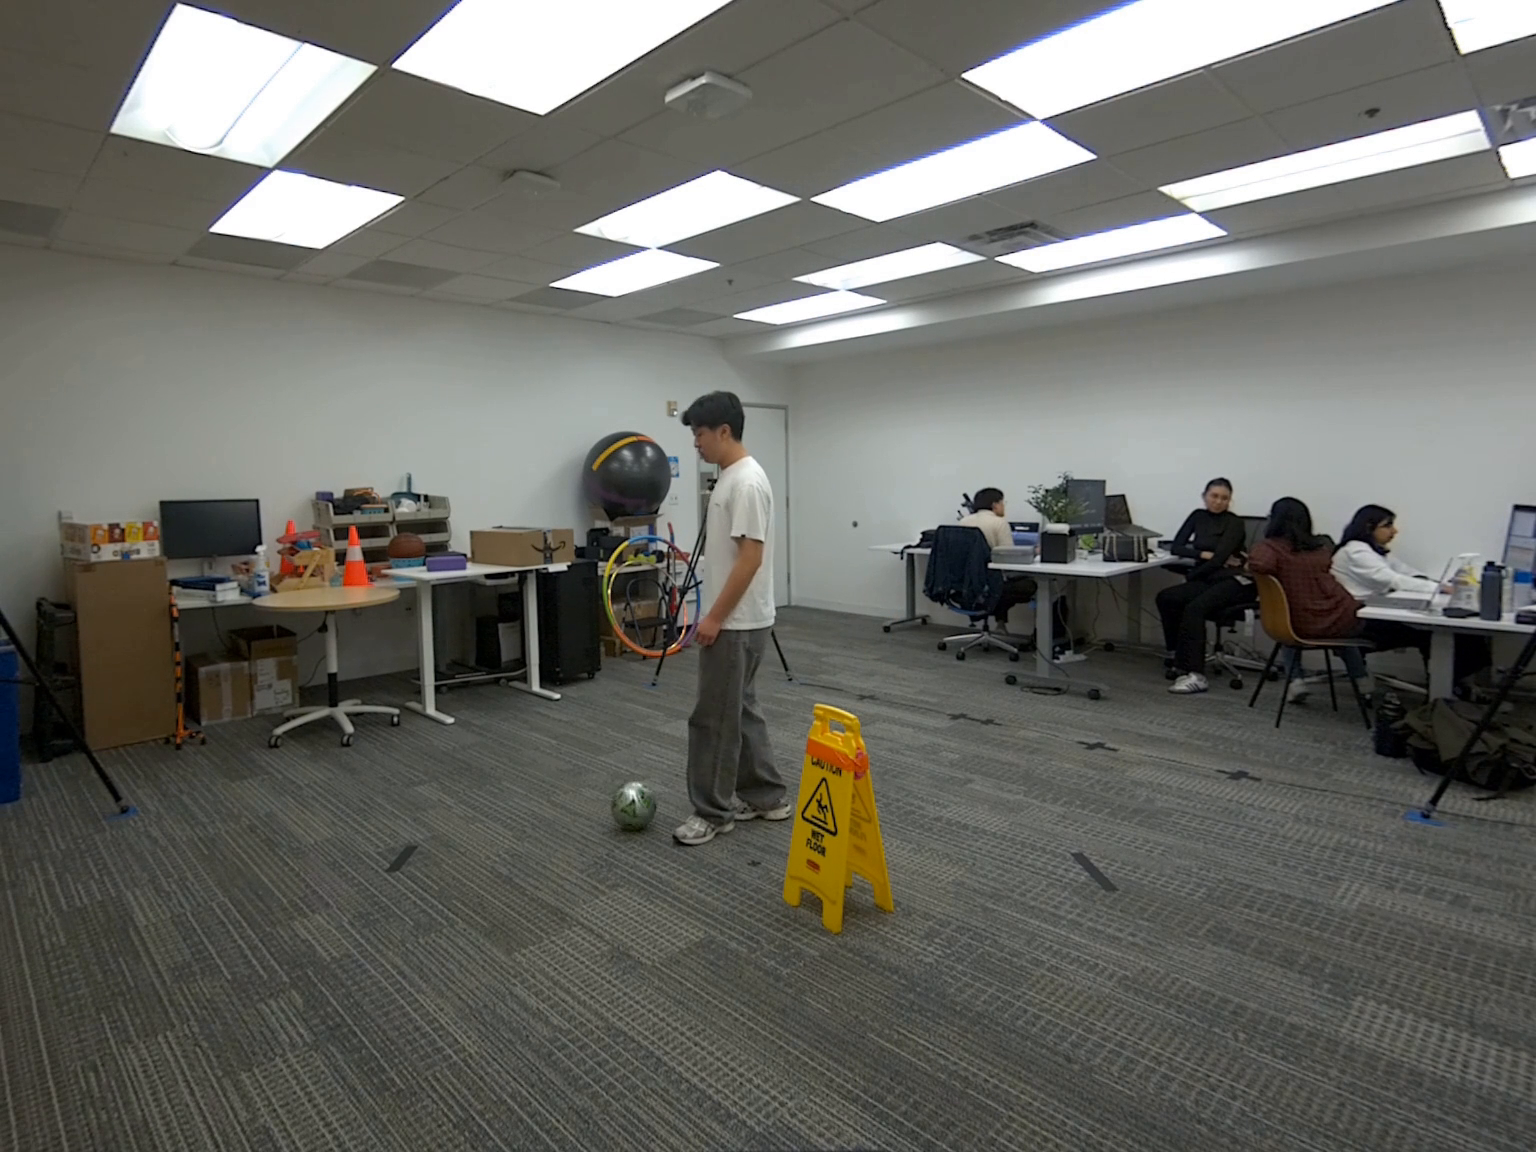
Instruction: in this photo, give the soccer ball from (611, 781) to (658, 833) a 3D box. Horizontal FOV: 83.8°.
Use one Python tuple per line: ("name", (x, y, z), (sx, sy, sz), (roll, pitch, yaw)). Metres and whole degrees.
("soccer ball", (-0.537, 0.920, 3.449), (0.187, 0.187, 0.188), (-1, 5, -2))
